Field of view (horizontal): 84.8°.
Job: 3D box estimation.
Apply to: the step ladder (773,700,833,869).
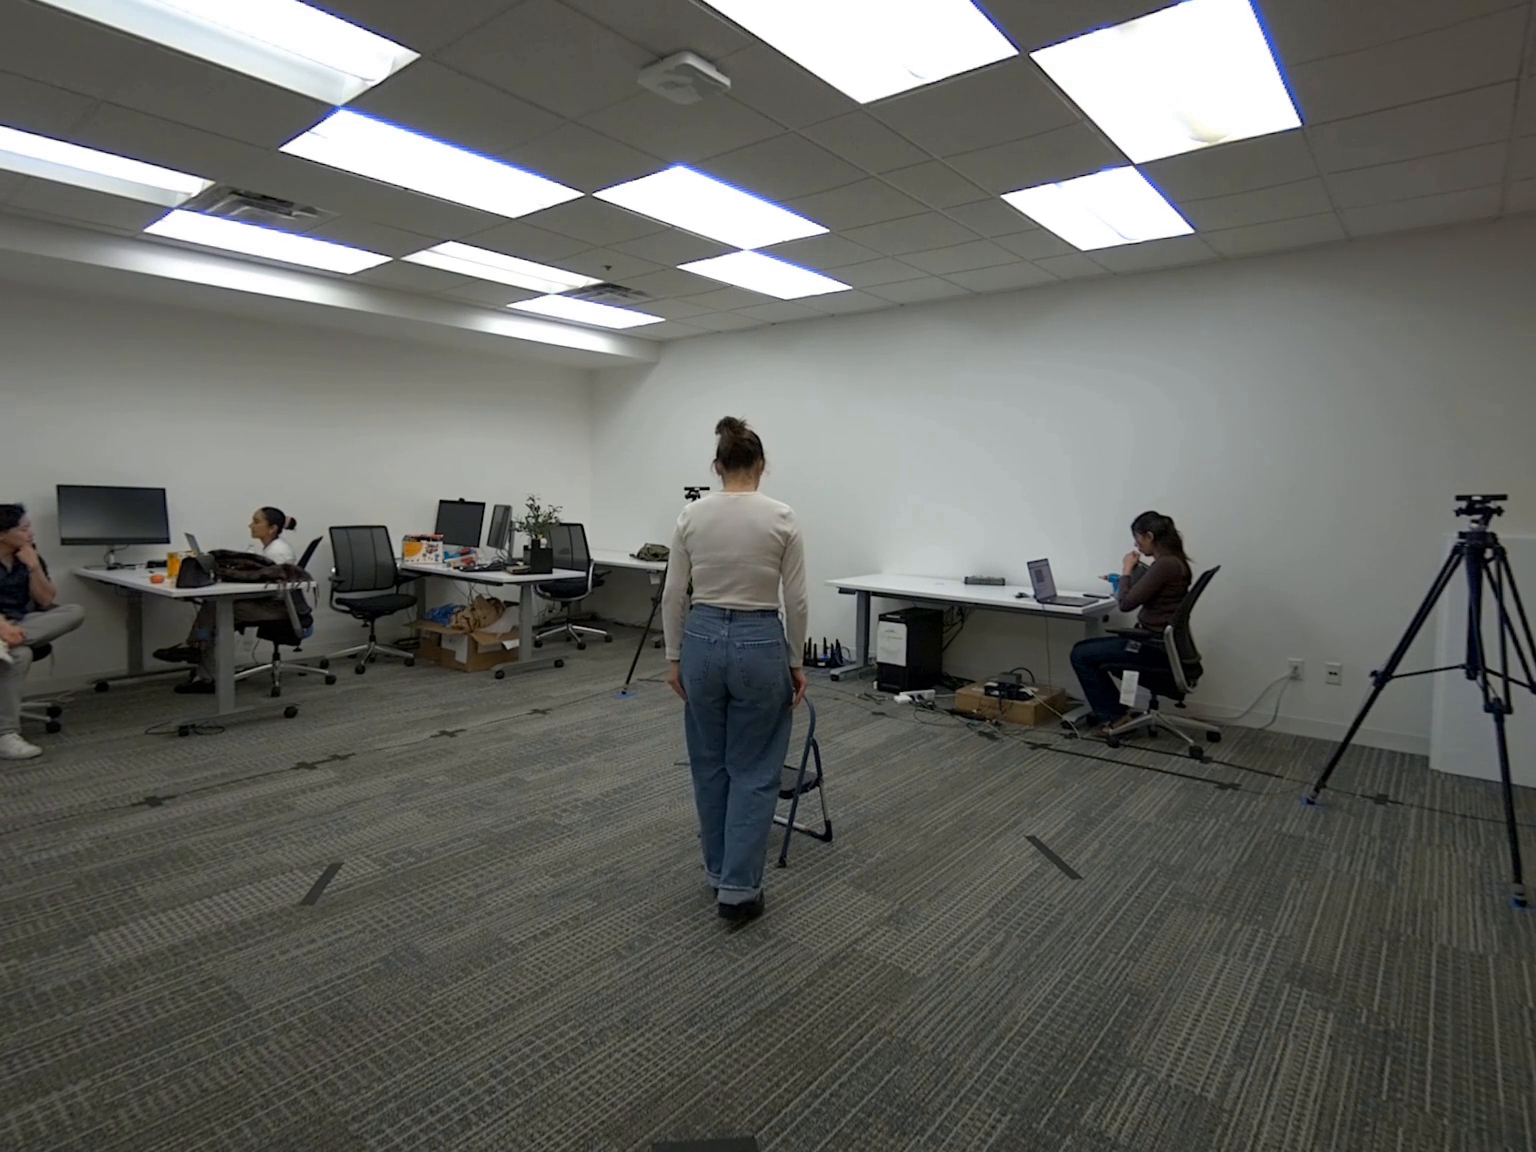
[{"bbox_3d":[-0.005,0.737,3.372,0.445,0.604,0.339,4,5,40],"label":"step ladder"}]
